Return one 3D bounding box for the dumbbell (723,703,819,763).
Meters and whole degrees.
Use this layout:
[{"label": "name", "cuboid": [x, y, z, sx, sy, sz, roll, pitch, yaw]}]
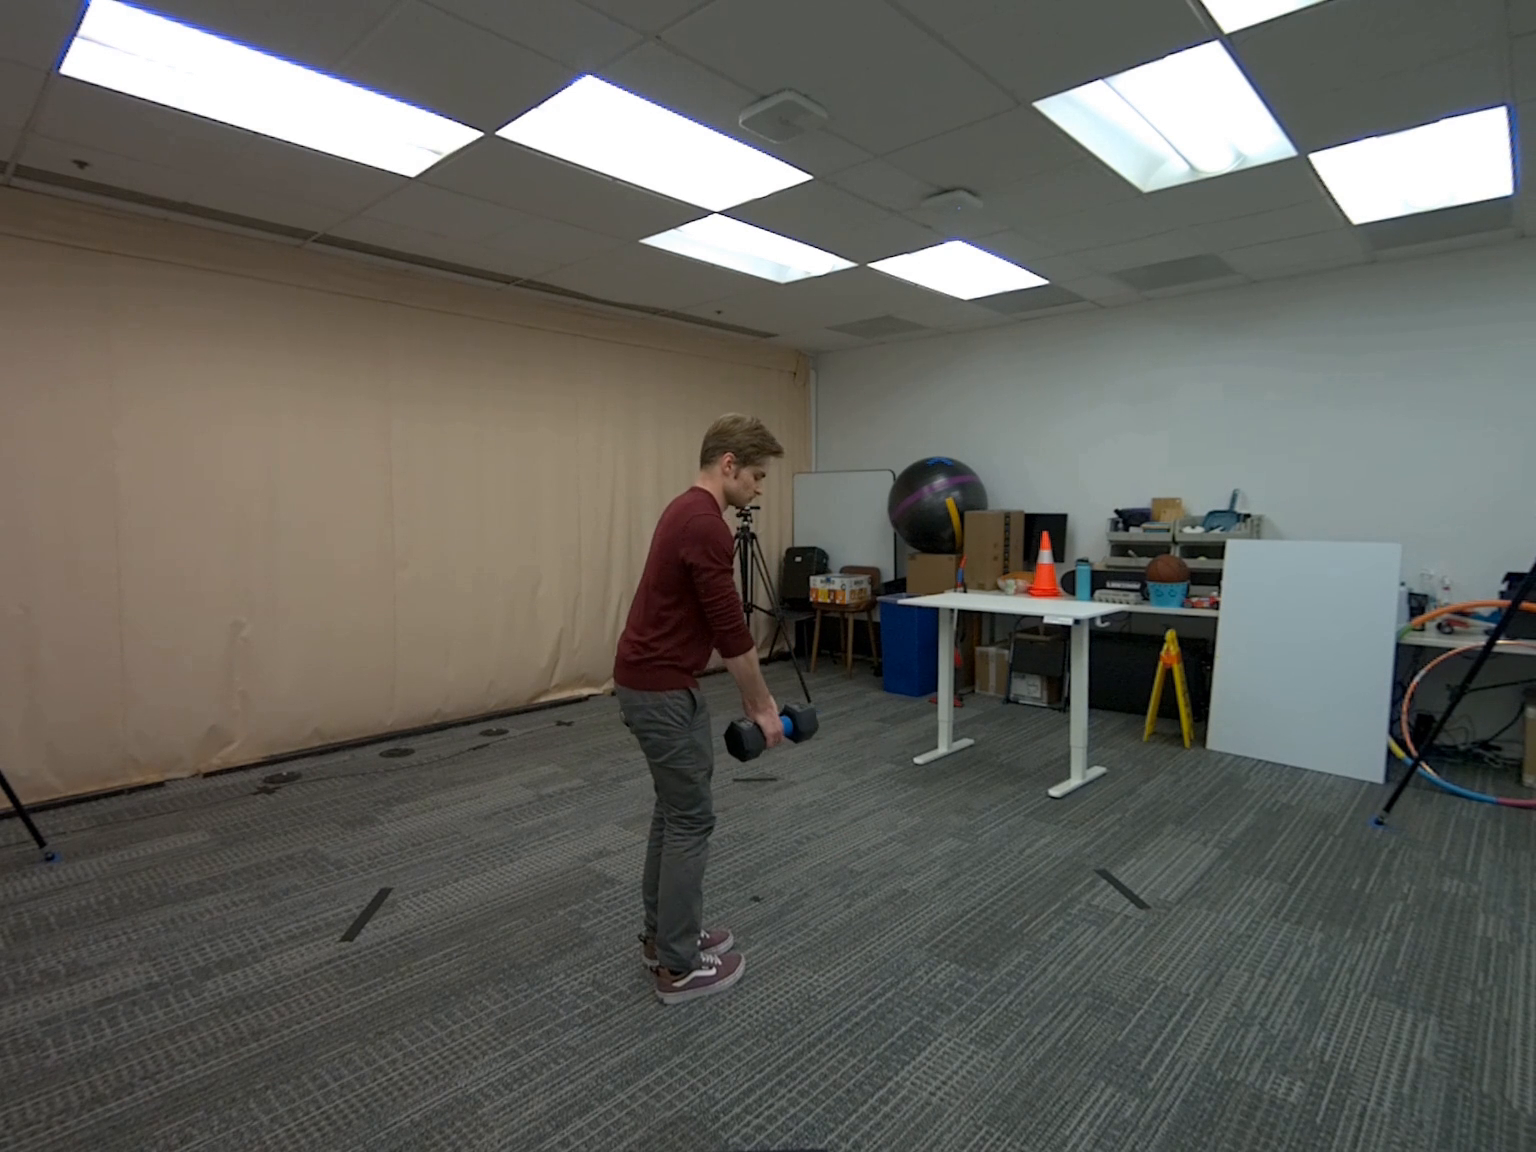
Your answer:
[{"label": "dumbbell", "cuboid": [0.012, 0.467, 2.496, 0.286, 0.122, 0.112, -10, 52, -36]}]
